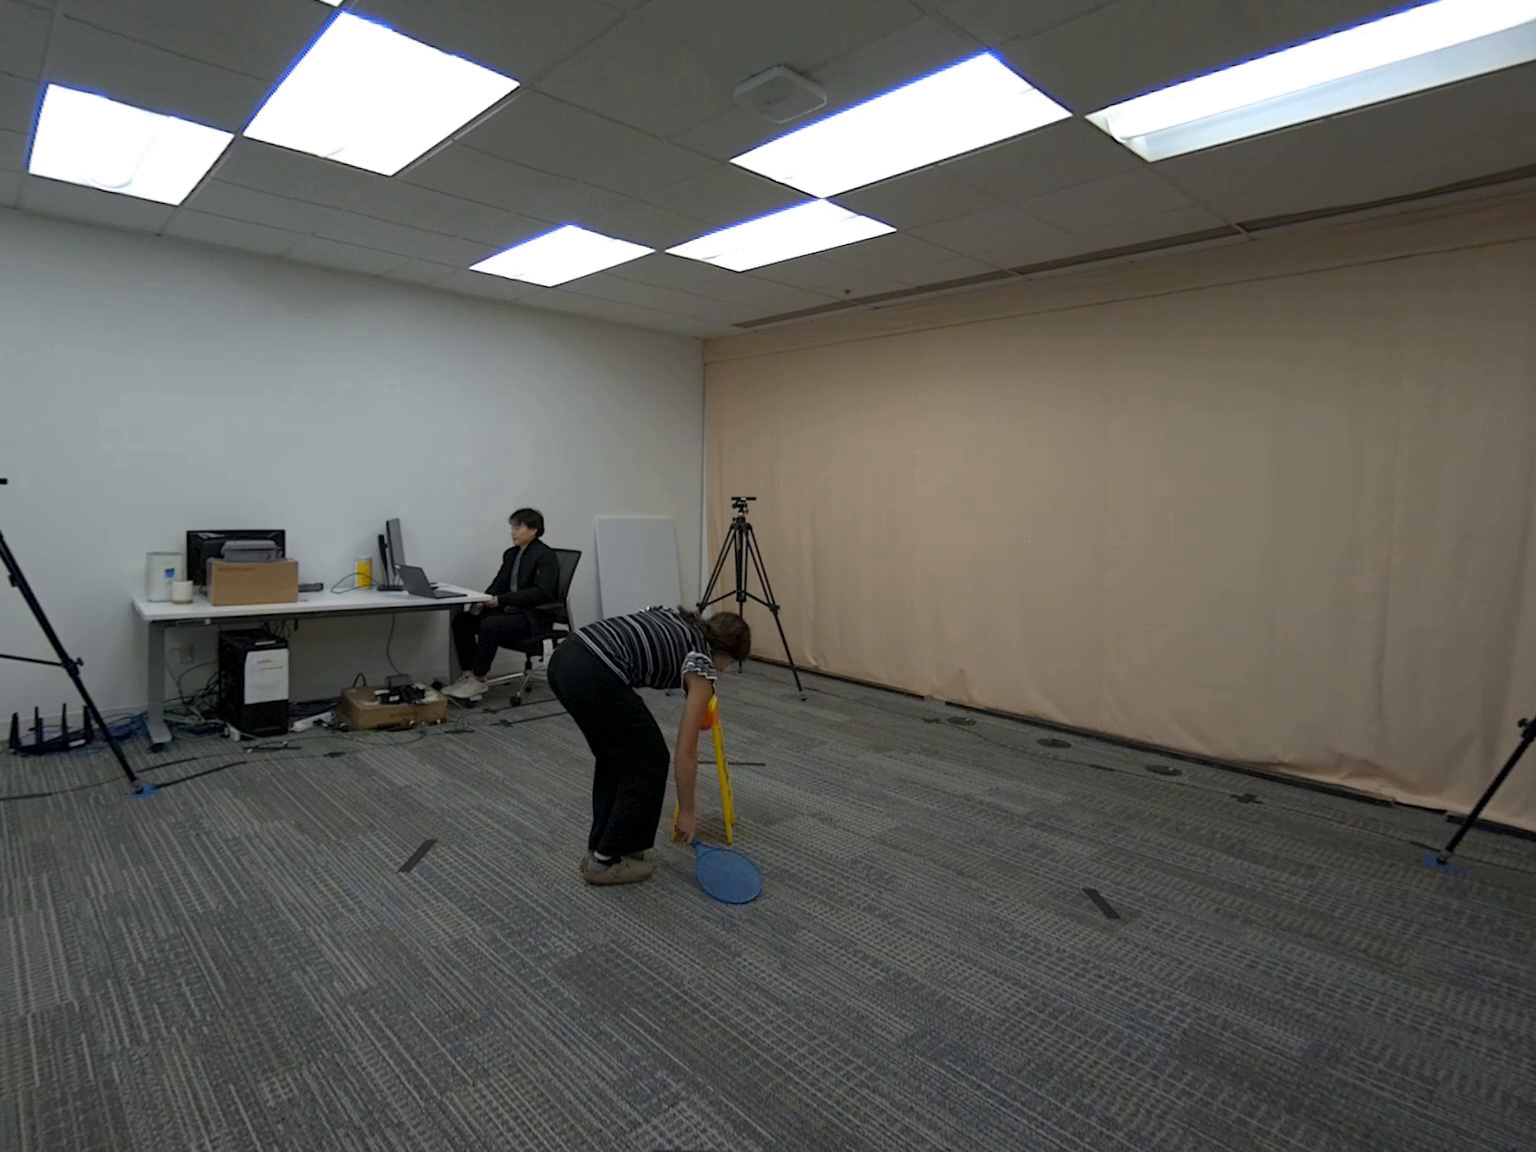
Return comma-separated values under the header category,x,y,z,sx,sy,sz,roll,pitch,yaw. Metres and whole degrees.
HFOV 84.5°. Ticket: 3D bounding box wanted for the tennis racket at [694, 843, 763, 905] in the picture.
category,x,y,z,sx,sy,sz,roll,pitch,yaw
tennis racket,-0.213,1.041,3.060,0.211,0.031,0.446,-21,33,-36
